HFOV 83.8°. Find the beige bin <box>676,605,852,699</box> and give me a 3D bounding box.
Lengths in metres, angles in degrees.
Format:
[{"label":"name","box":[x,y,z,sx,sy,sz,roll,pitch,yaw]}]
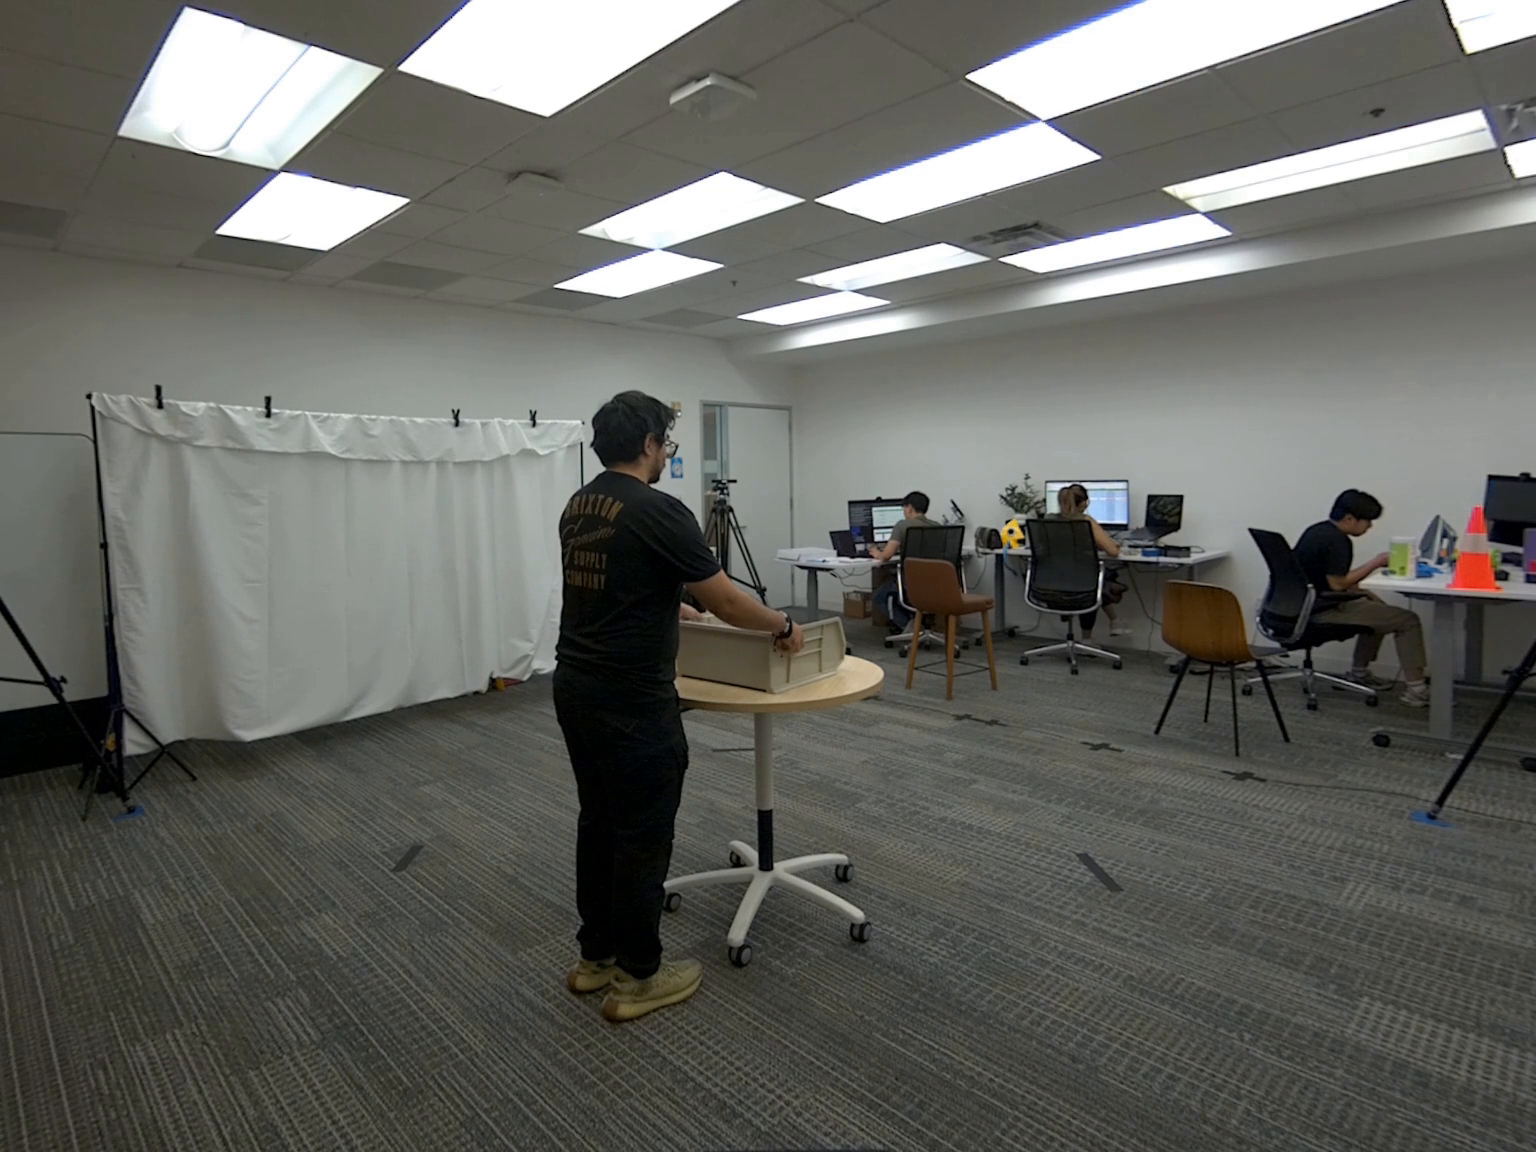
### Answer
[{"label":"beige bin","box":[-0.024,0.221,2.706,0.435,0.188,0.368,3,8,40]}]
